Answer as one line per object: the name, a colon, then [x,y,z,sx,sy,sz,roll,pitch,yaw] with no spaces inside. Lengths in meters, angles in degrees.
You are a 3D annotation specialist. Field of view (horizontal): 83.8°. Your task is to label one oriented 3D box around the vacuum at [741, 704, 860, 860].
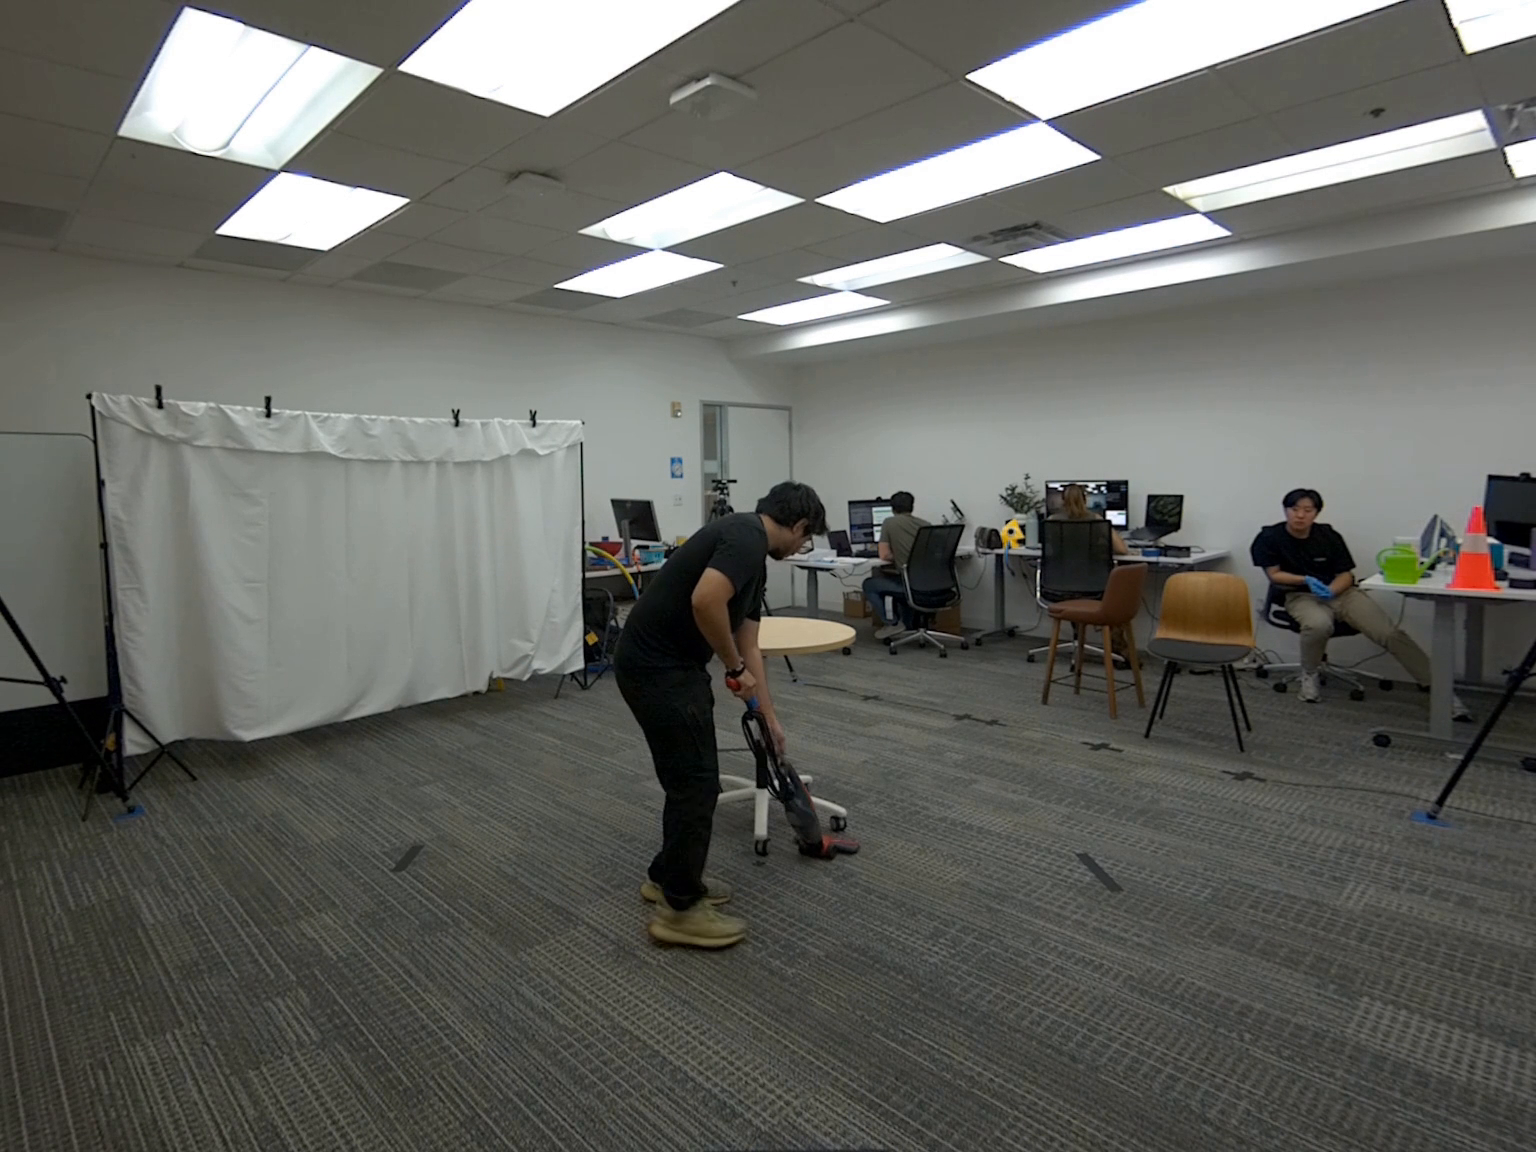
vacuum: [0.050,0.669,2.884,0.256,1.011,0.147,-8,45,16]
